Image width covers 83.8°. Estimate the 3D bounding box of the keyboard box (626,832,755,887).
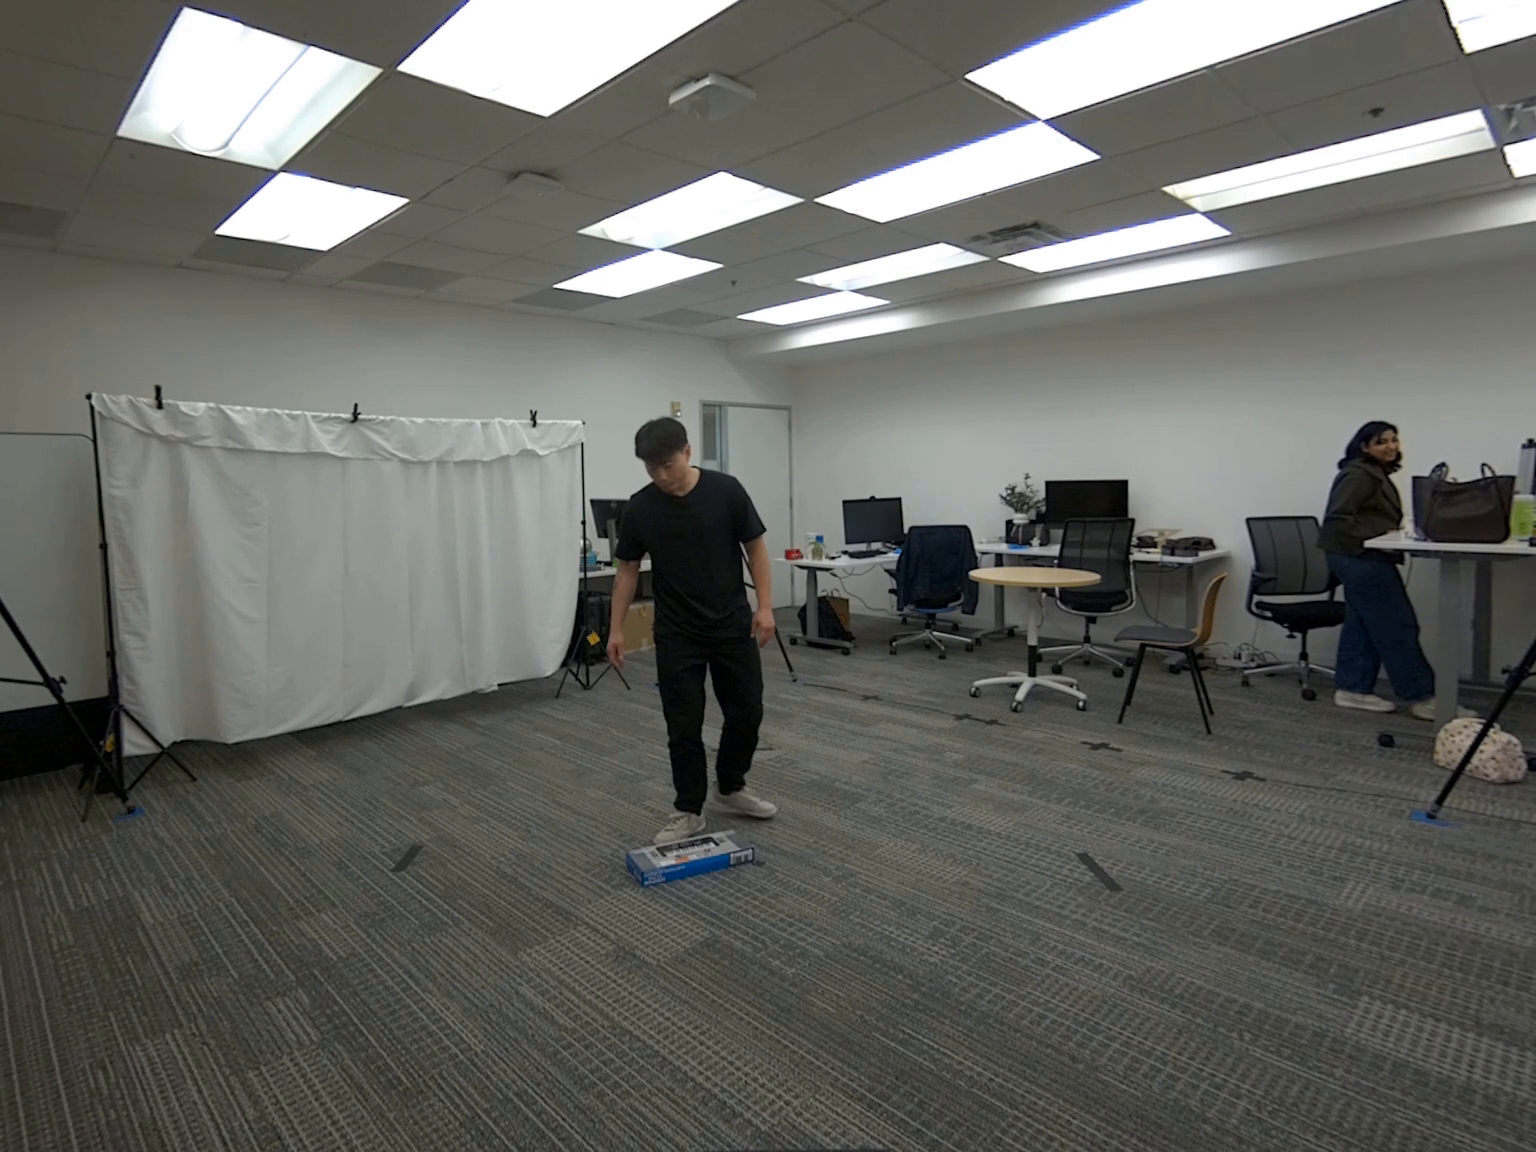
[{"bbox_3d":[-0.278,1.023,3.103,0.427,0.059,0.181,-4,8,-26],"label":"keyboard box"}]
